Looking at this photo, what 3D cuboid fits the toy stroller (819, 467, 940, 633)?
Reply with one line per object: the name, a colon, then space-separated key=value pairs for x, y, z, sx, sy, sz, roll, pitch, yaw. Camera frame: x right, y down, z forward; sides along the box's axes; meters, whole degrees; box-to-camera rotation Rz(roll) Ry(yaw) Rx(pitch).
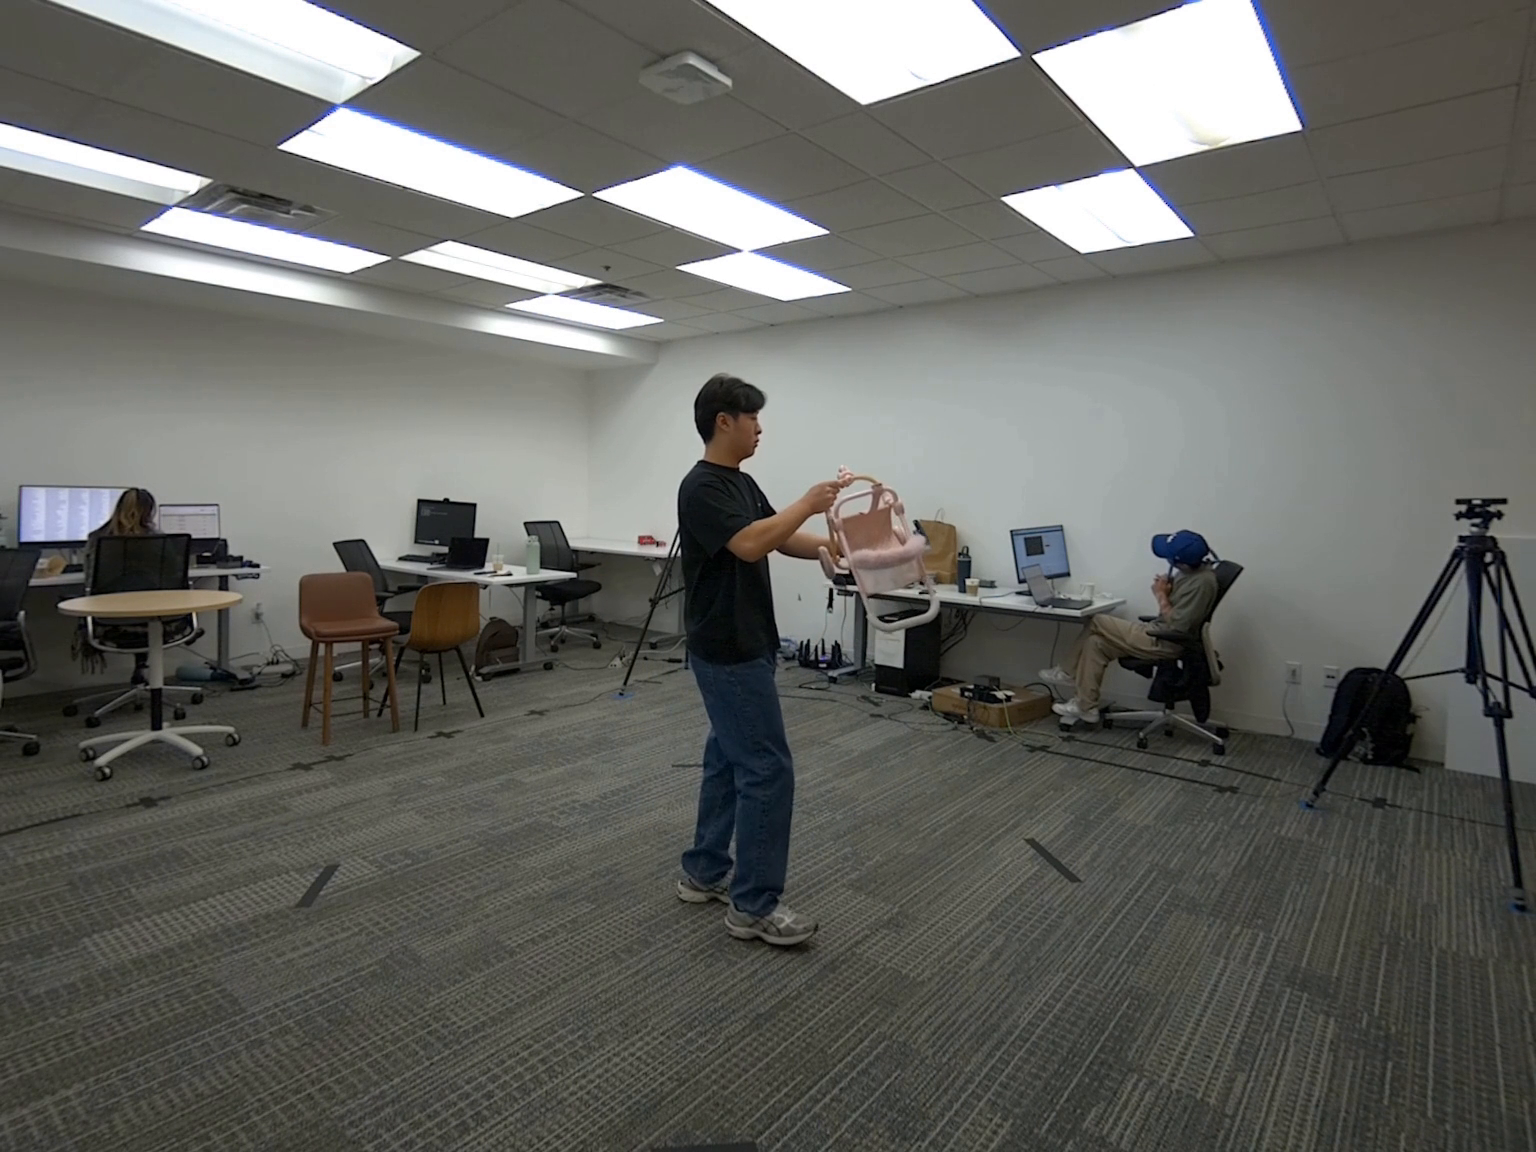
toy stroller: x=0.319 y=-0.105 z=2.546 sx=0.280 sy=0.333 sz=0.550 roll=-10 pitch=25 yaw=-4
